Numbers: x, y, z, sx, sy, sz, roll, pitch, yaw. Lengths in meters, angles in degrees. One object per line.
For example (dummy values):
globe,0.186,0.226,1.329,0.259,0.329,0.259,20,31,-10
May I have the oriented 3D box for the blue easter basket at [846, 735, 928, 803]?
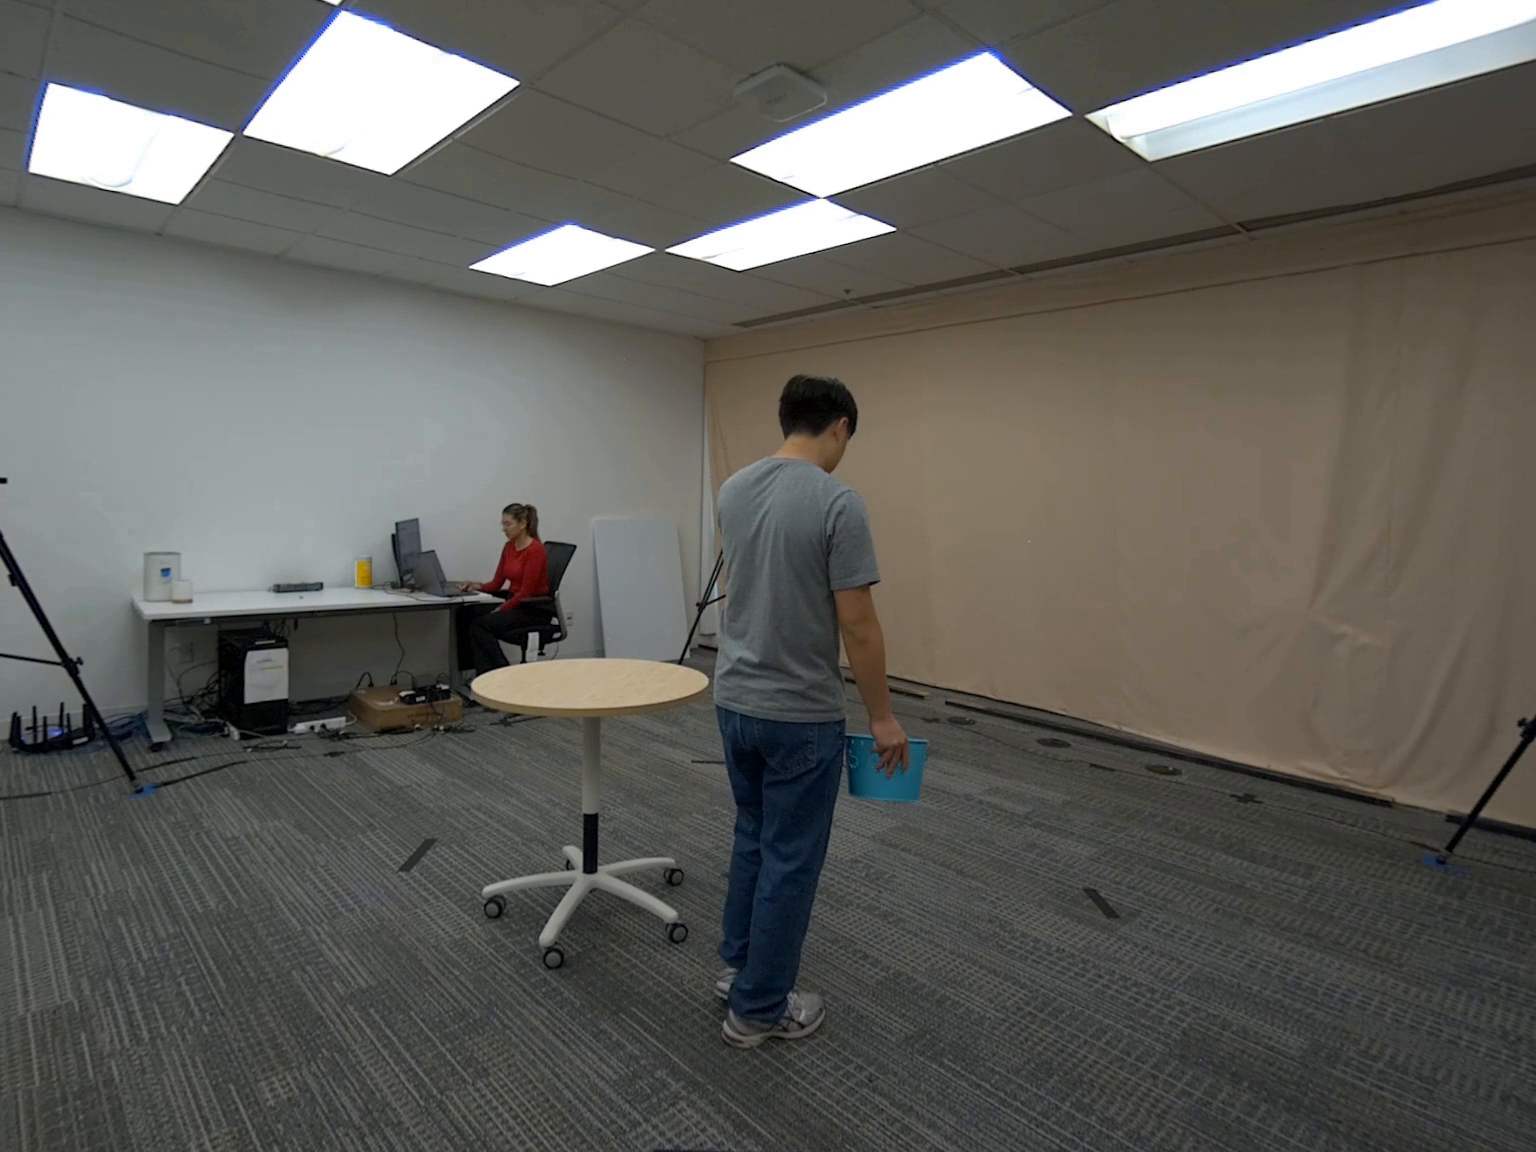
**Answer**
blue easter basket,0.308,0.508,2.207,0.243,0.157,0.242,4,-9,-1
